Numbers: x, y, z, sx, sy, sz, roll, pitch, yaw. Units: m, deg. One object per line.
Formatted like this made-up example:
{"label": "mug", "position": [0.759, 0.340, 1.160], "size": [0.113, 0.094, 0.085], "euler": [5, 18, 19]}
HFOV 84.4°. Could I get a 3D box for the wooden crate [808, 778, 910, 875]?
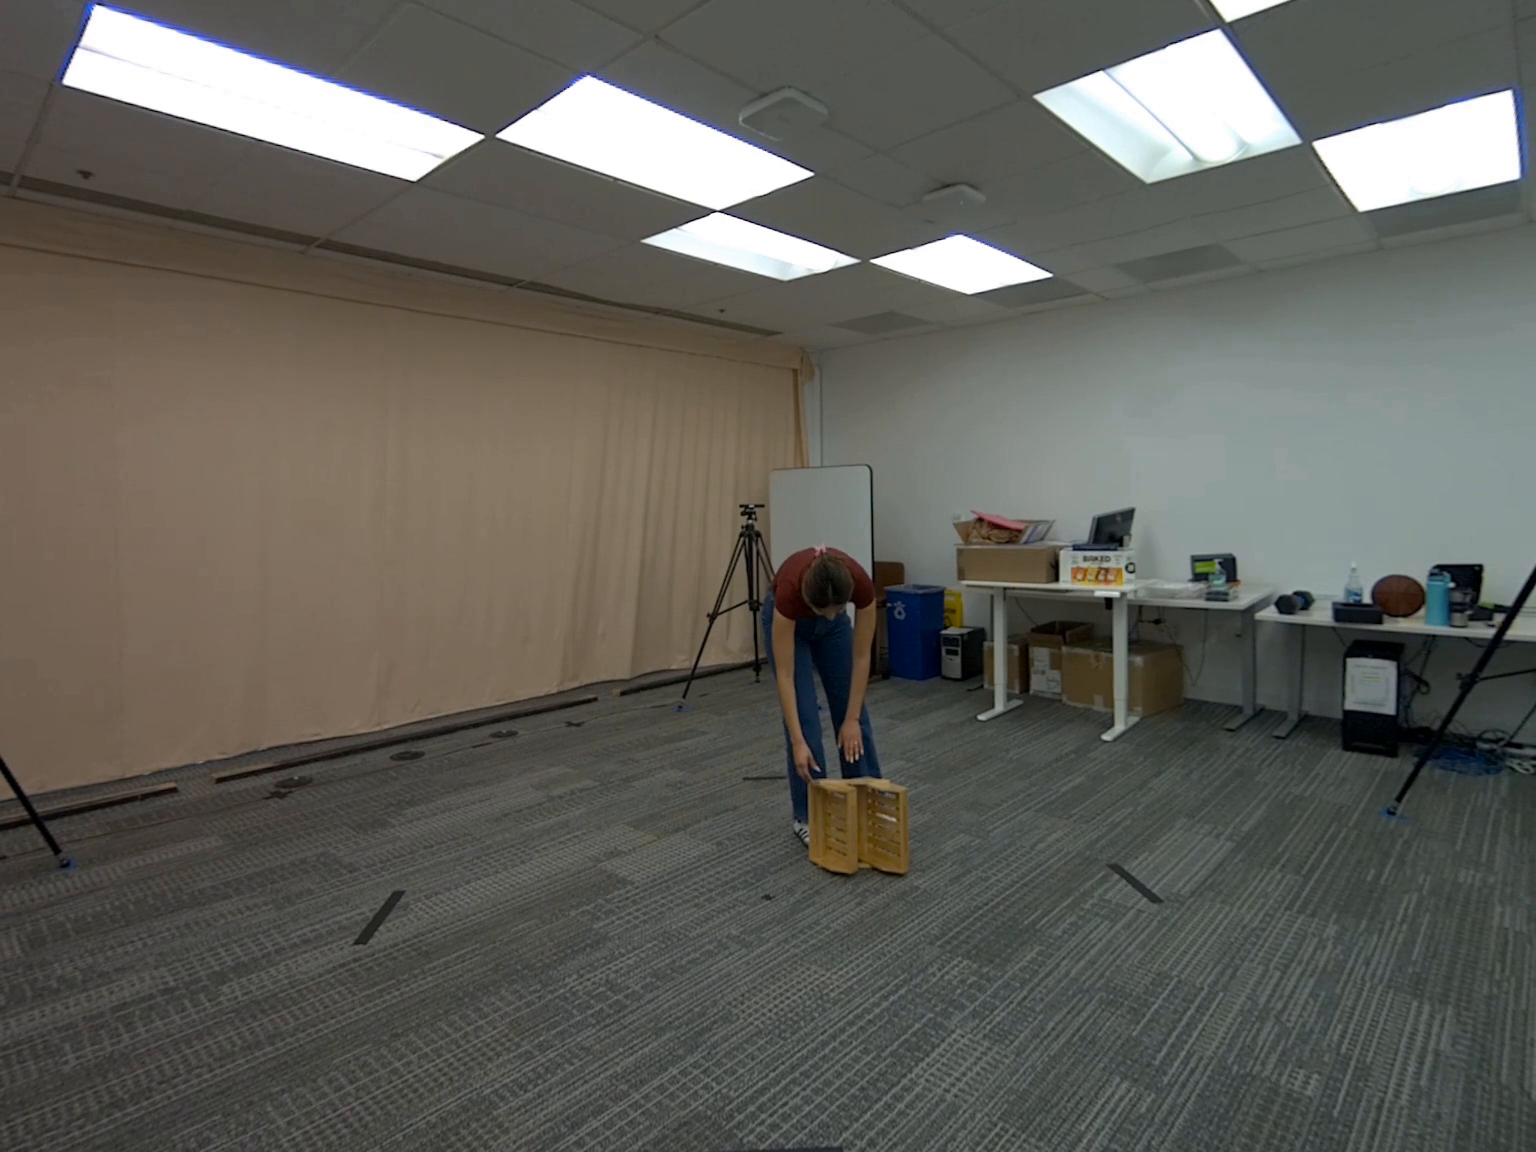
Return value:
{"label": "wooden crate", "position": [0.344, 0.944, 3.201], "size": [0.266, 0.325, 0.310], "euler": [0, -3, -29]}
